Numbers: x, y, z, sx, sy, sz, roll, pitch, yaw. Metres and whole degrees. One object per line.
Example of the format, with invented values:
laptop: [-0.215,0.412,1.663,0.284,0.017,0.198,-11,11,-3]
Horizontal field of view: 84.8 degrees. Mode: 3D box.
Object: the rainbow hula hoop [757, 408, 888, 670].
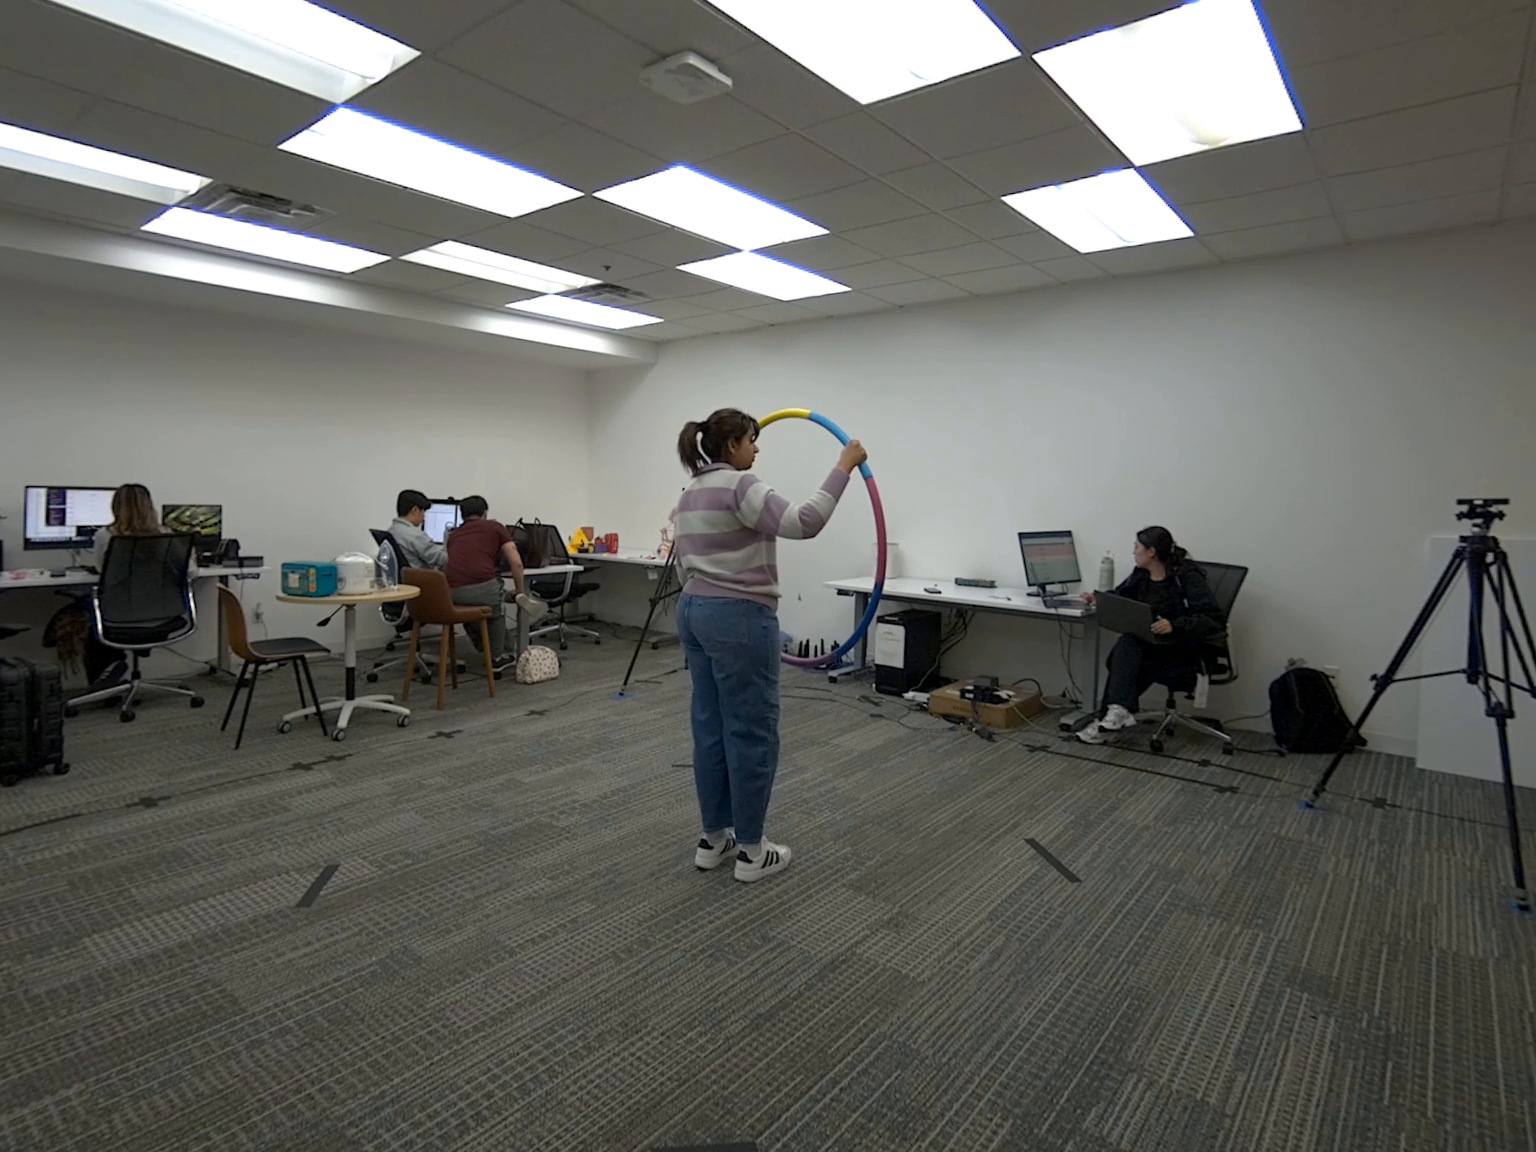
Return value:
rainbow hula hoop: [0.080,-0.153,3.262,0.034,0.973,1.011,-7,8,-37]
